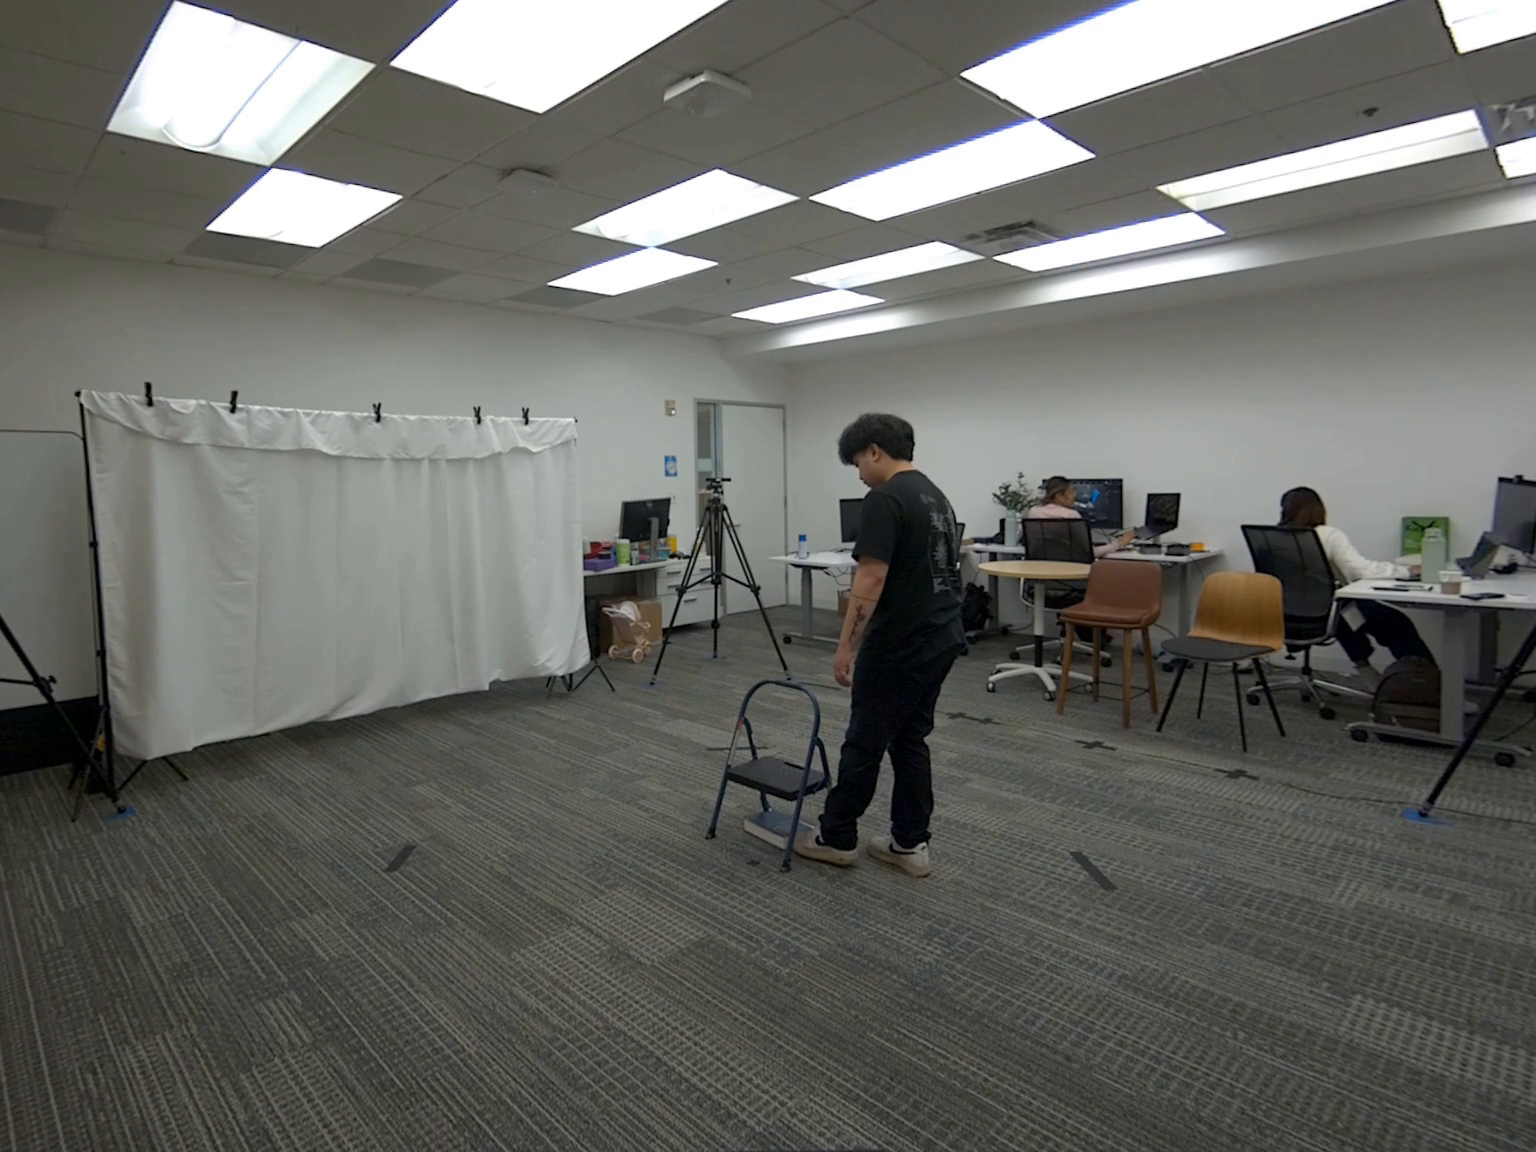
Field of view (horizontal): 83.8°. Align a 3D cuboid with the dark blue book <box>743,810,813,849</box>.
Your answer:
[{"bbox_3d":[0.046,0.988,3.339,0.159,0.045,0.253,-3,7,-40],"label":"dark blue book"}]
